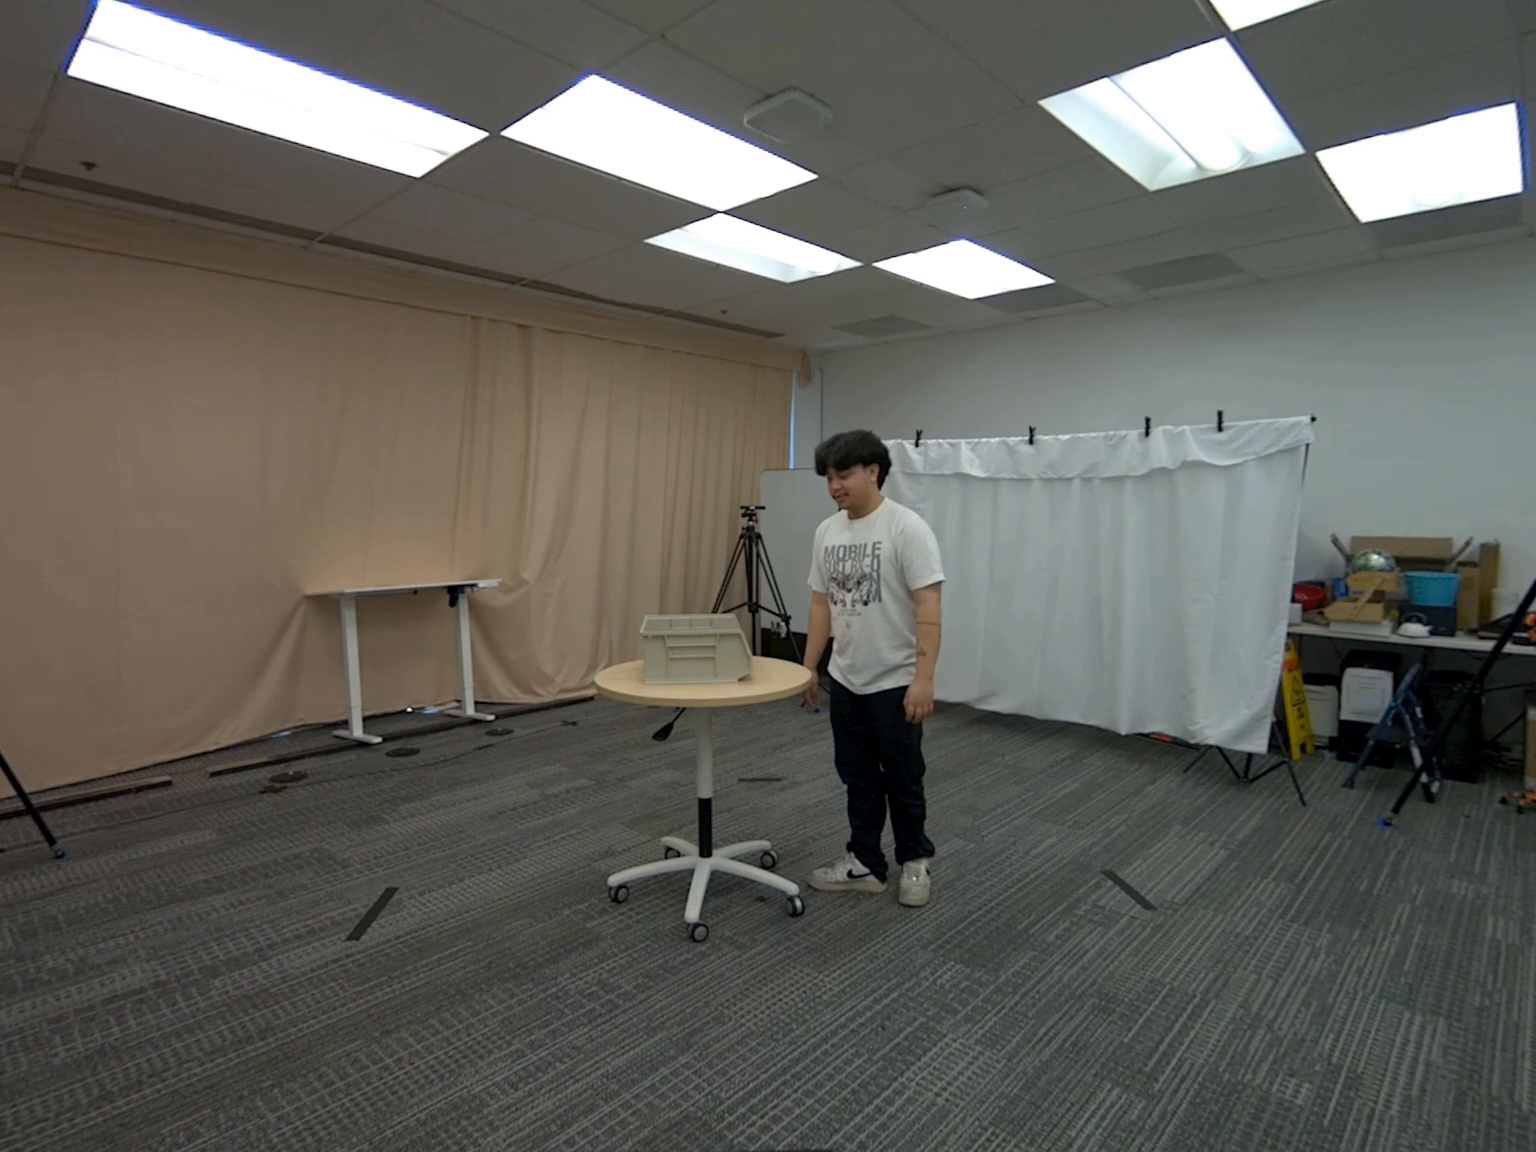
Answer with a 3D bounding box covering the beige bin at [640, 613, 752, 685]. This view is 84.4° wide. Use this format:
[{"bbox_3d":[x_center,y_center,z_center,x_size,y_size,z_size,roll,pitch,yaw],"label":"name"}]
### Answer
[{"bbox_3d":[-0.247,0.261,3.030,0.377,0.188,0.424,-3,5,-2],"label":"beige bin"}]
